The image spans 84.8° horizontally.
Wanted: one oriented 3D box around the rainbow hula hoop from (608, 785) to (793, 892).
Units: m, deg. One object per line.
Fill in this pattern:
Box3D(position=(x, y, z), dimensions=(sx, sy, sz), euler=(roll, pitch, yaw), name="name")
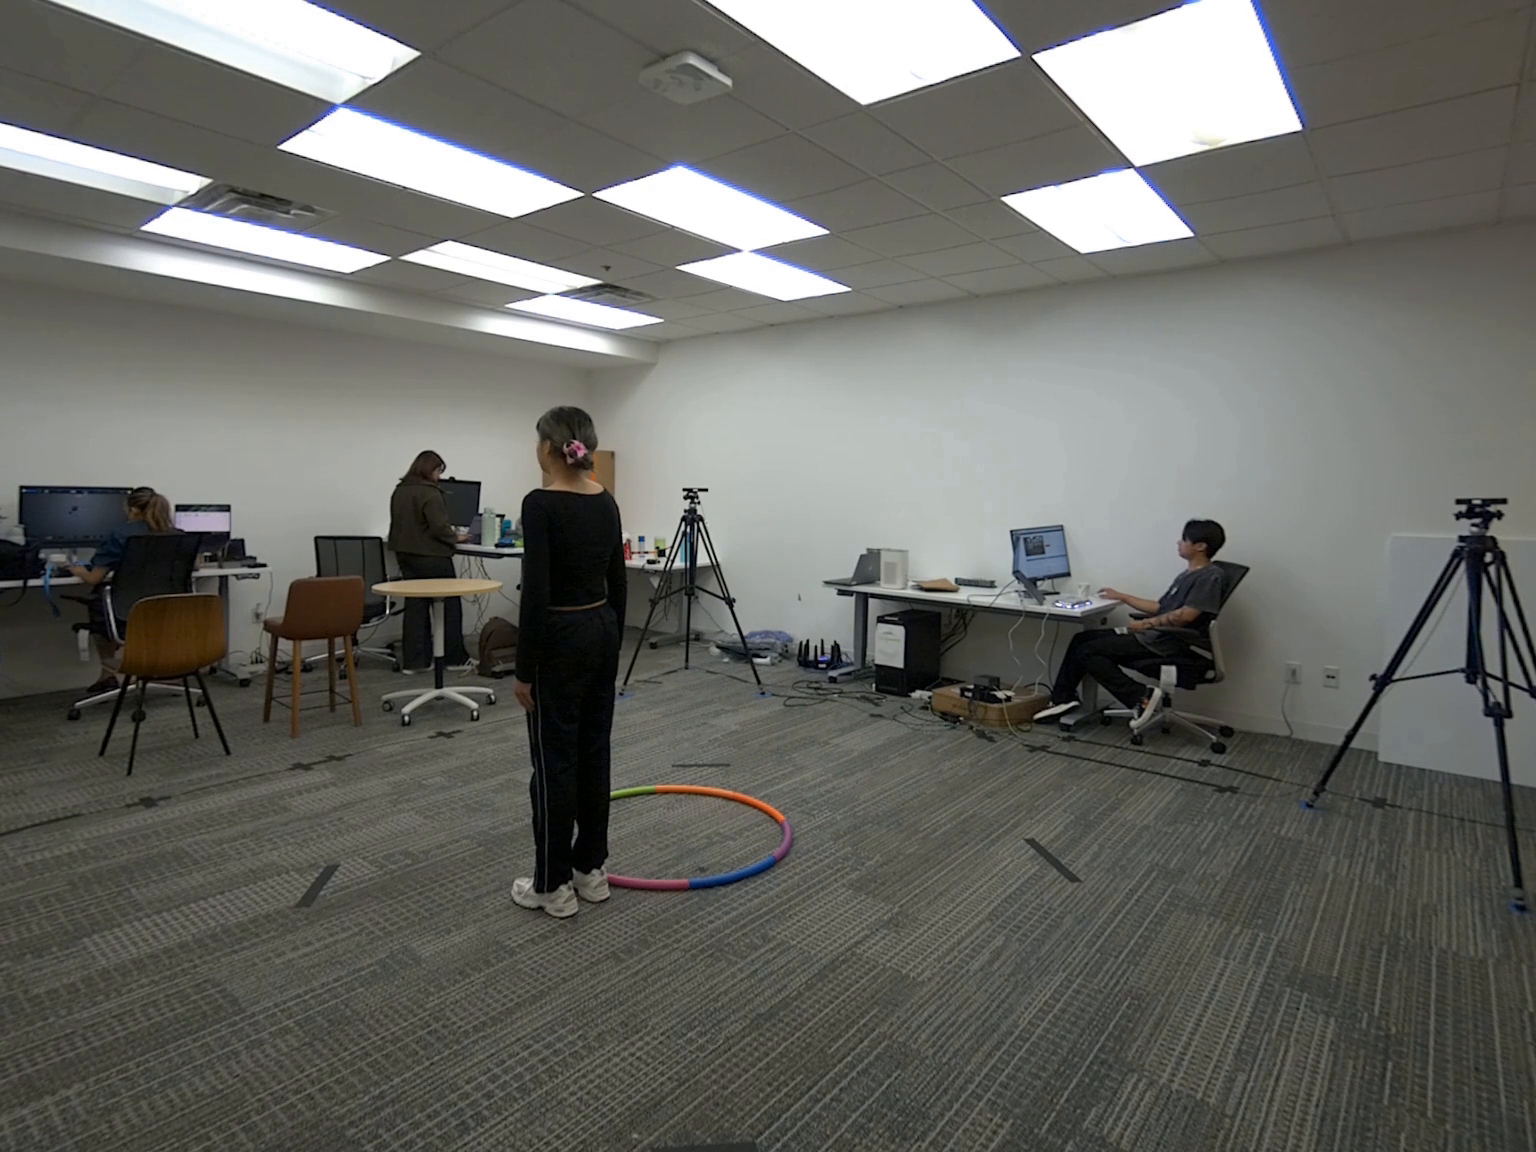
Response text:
Box3D(position=(-0.397, 1.005, 3.413), dimensions=(0.978, 0.035, 0.984), euler=(1, 6, -2), name="rainbow hula hoop")
